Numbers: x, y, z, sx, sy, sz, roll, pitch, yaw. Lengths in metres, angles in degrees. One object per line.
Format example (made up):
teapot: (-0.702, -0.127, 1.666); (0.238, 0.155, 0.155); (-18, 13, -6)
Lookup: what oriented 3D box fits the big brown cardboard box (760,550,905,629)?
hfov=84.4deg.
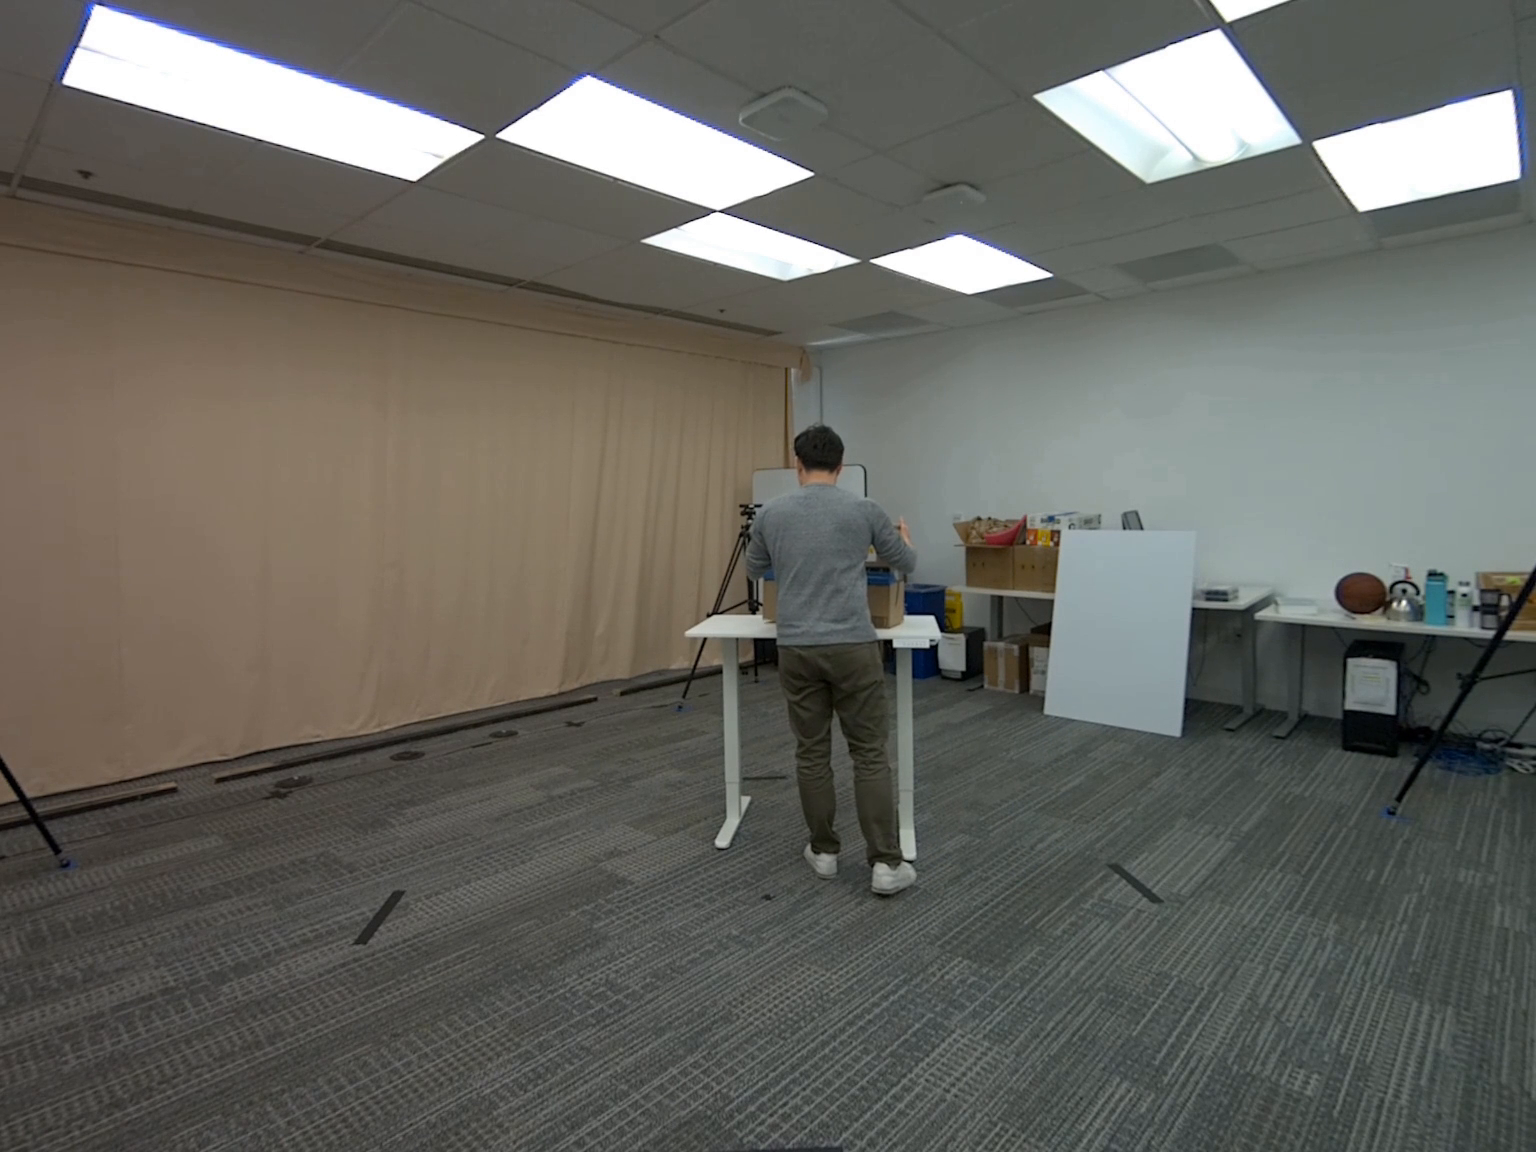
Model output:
big brown cardboard box: (0.286, -0.015, 3.586); (0.605, 0.416, 0.227); (2, 4, 28)
